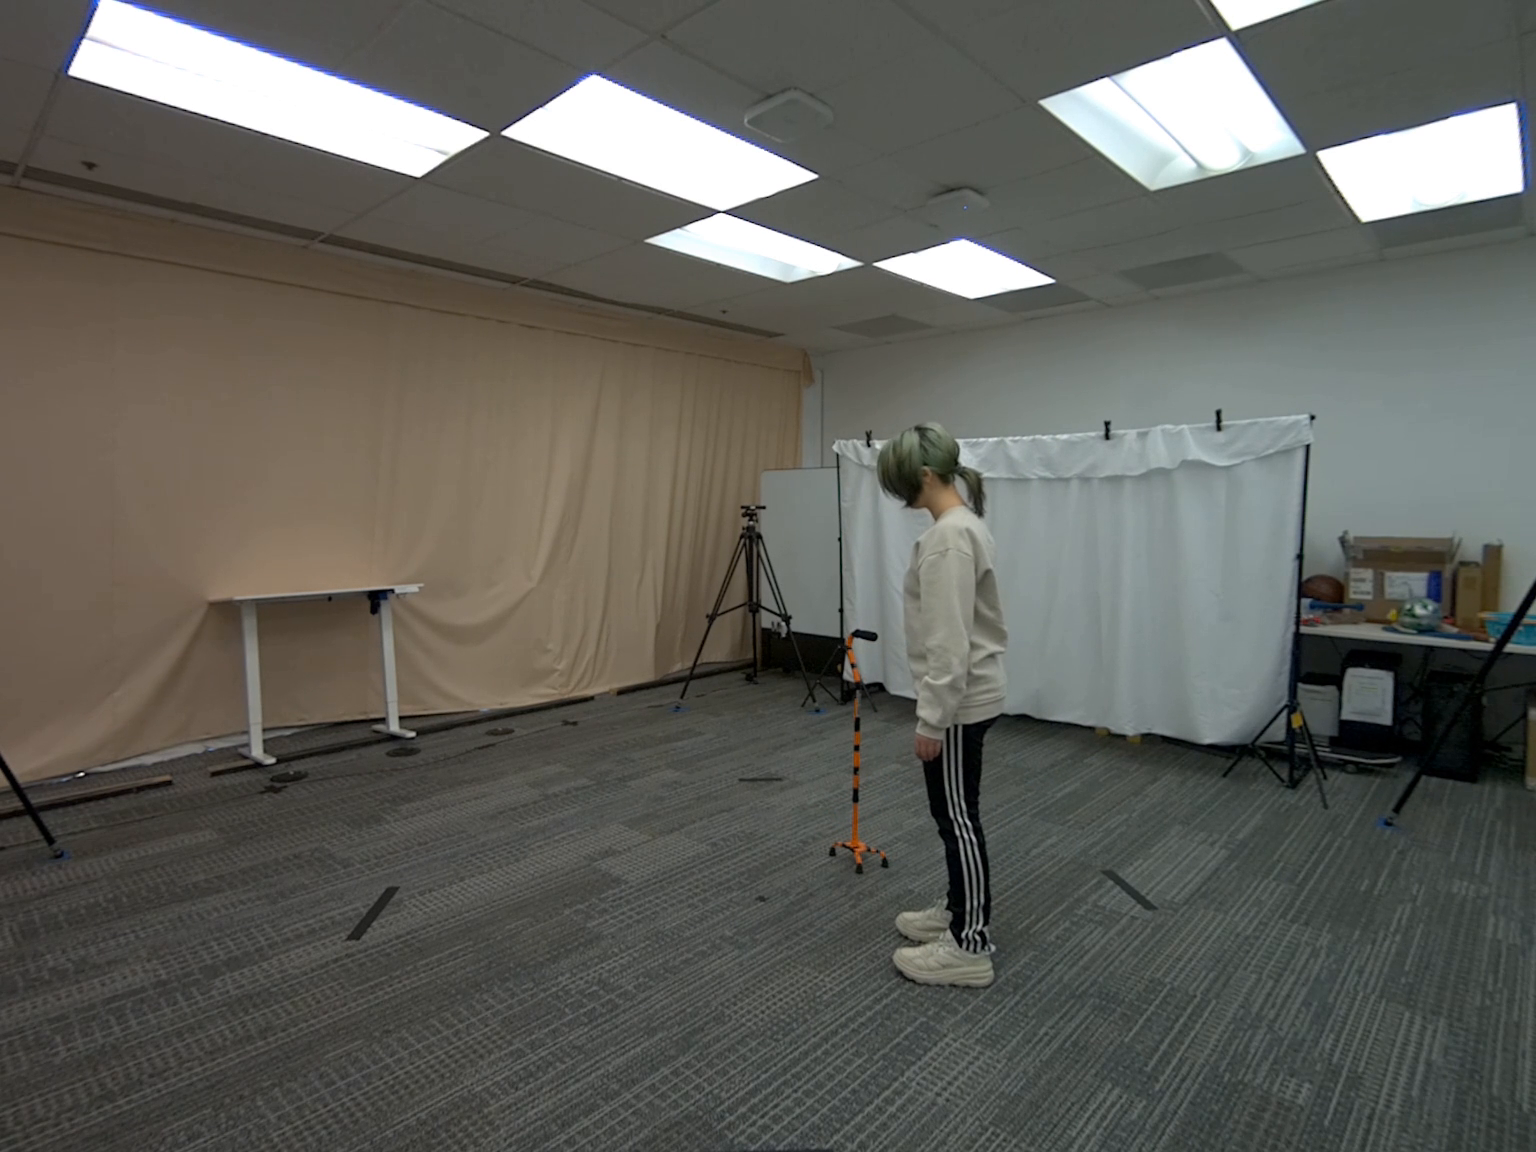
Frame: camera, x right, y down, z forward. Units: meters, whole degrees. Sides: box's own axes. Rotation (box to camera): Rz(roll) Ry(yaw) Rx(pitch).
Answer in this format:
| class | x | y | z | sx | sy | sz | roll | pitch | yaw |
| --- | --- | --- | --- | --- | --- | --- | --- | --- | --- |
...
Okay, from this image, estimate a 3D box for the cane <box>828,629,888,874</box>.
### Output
| class | x | y | z | sx | sy | sz | roll | pitch | yaw |
| --- | --- | --- | --- | --- | --- | --- | --- | --- | --- |
| cane | 0.367 | 0.665 | 3.274 | 0.148 | 0.906 | 0.212 | -2 | 3 | -28 |
